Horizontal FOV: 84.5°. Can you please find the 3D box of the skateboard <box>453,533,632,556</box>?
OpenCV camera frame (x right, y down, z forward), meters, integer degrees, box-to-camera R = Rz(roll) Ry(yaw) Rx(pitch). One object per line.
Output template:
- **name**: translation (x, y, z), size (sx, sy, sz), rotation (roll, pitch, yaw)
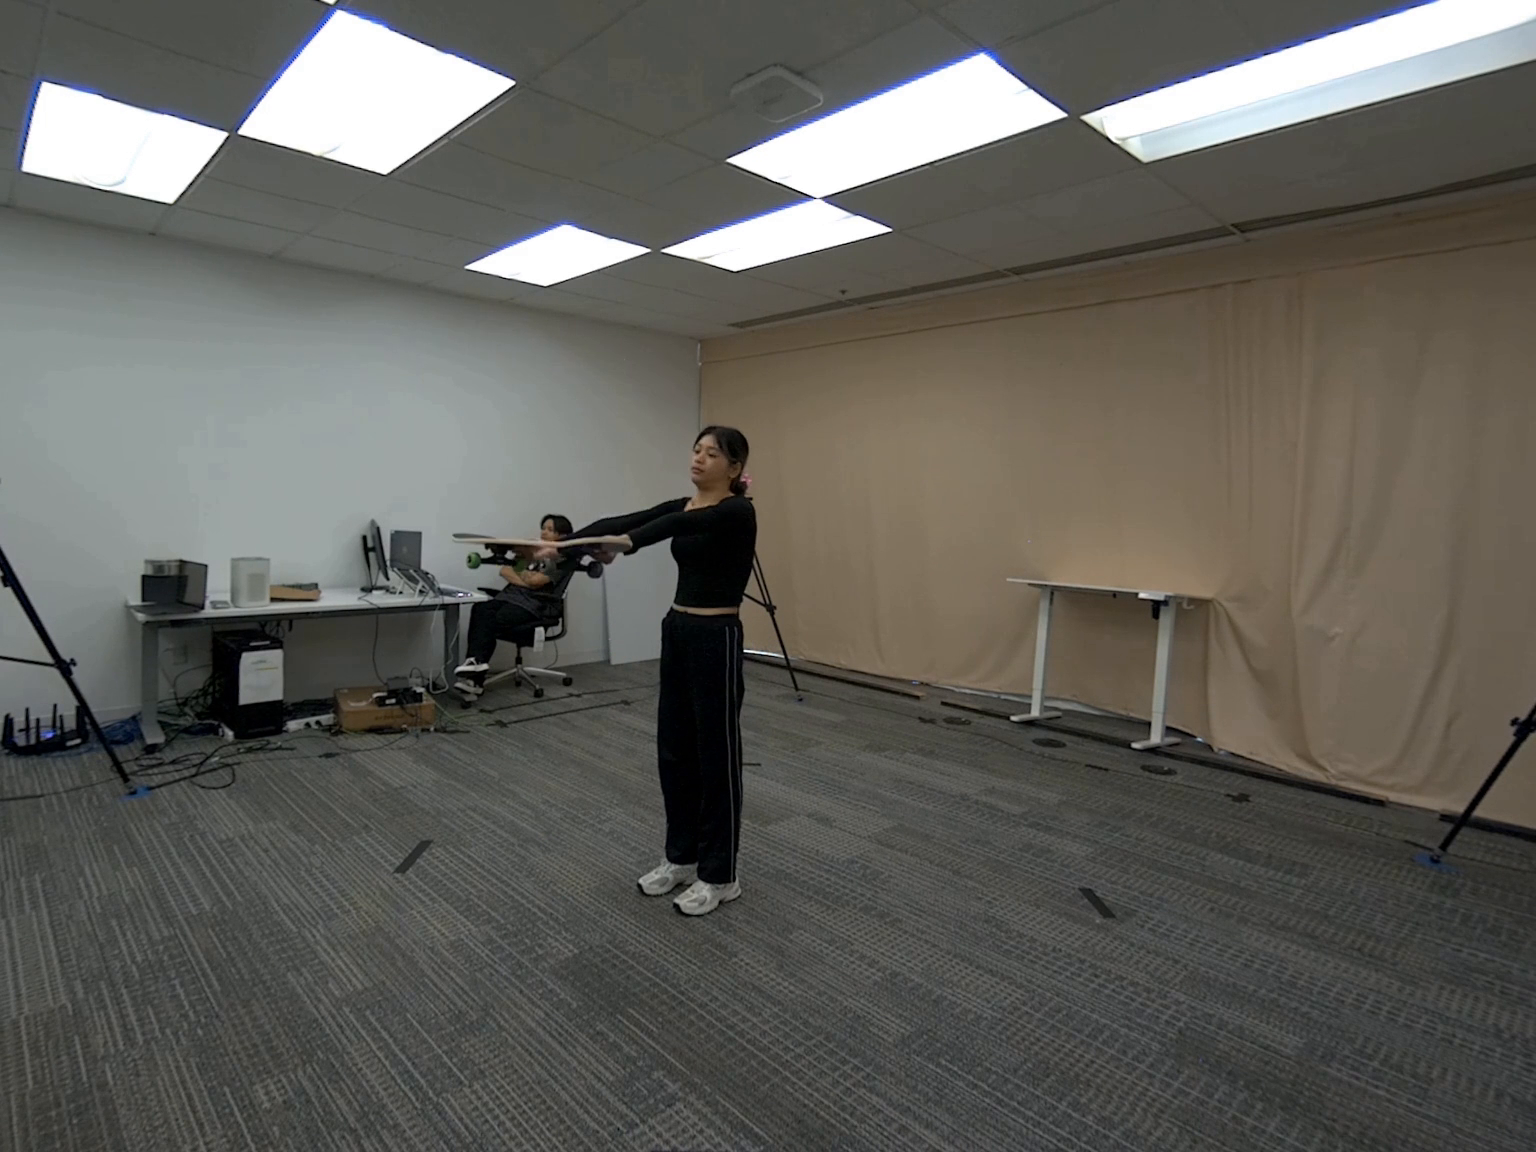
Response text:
- **skateboard**: translation (-0.678, -0.056, 2.428), size (0.805, 0.110, 0.189), rotation (5, 2, 44)
